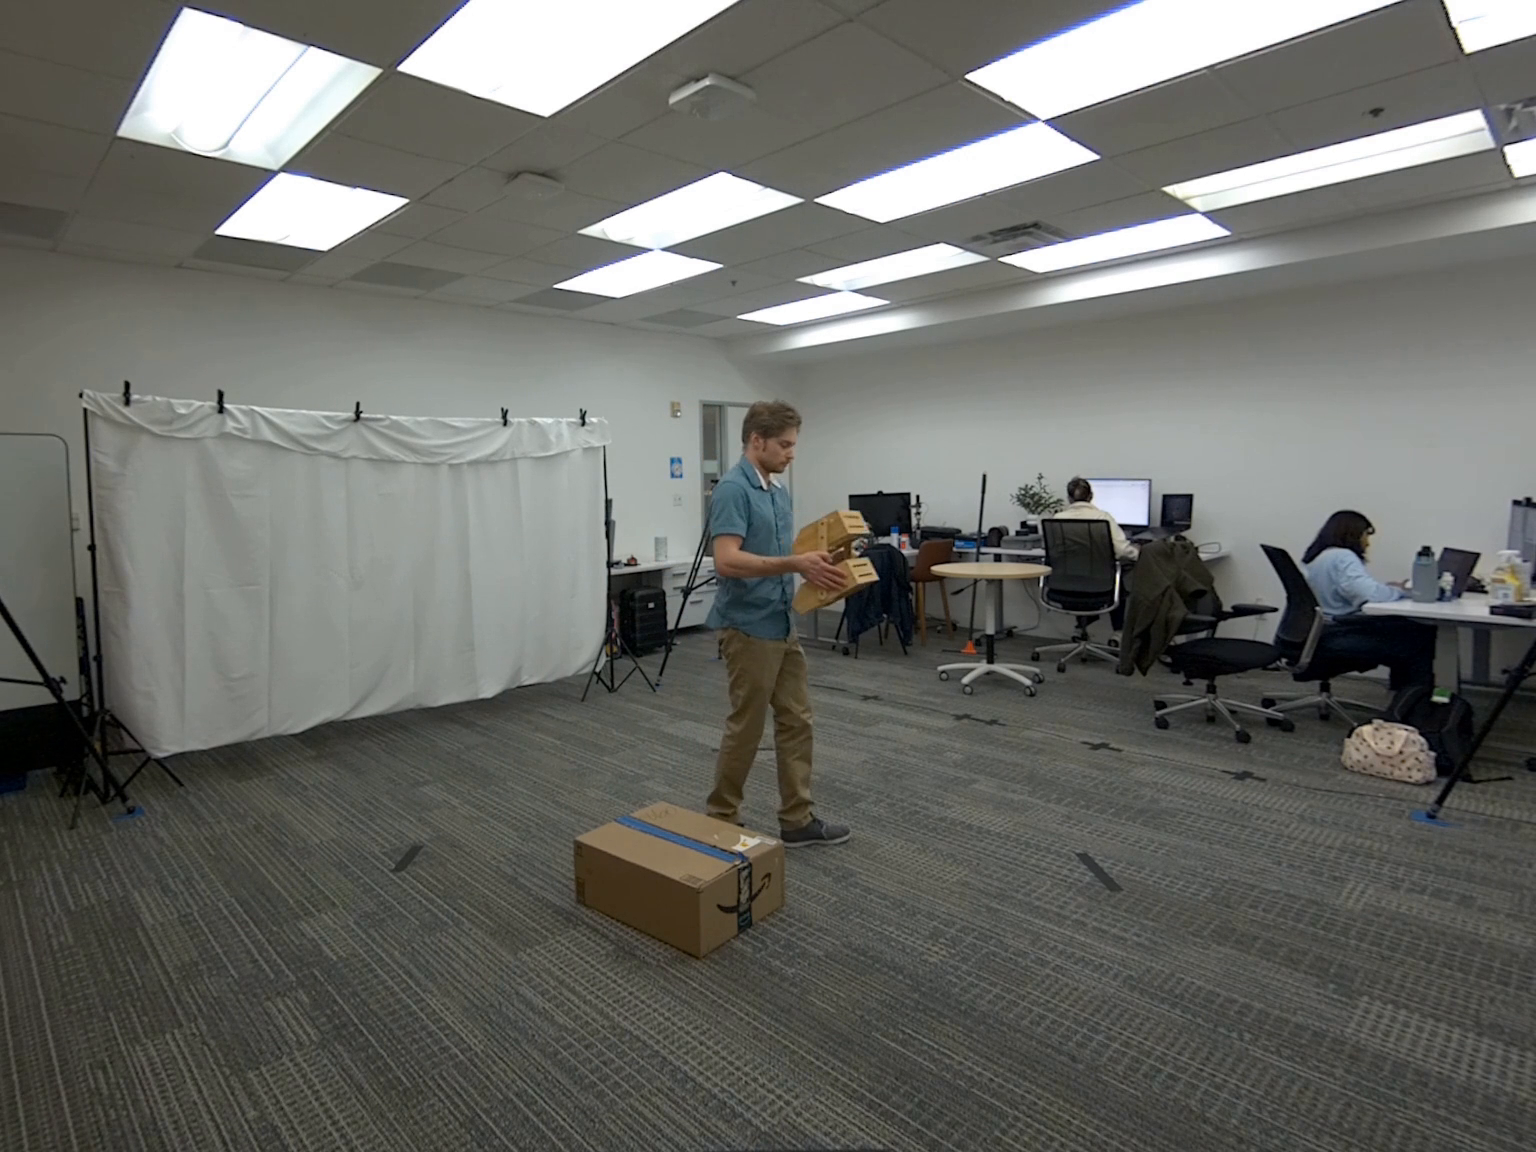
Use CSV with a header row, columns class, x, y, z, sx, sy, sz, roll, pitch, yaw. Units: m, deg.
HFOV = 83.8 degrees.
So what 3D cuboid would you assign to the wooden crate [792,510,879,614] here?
class,x,y,z,sx,sy,sz,roll,pitch,yaw
wooden crate,0.214,-0.055,3.078,0.304,0.276,0.318,-28,-8,21
